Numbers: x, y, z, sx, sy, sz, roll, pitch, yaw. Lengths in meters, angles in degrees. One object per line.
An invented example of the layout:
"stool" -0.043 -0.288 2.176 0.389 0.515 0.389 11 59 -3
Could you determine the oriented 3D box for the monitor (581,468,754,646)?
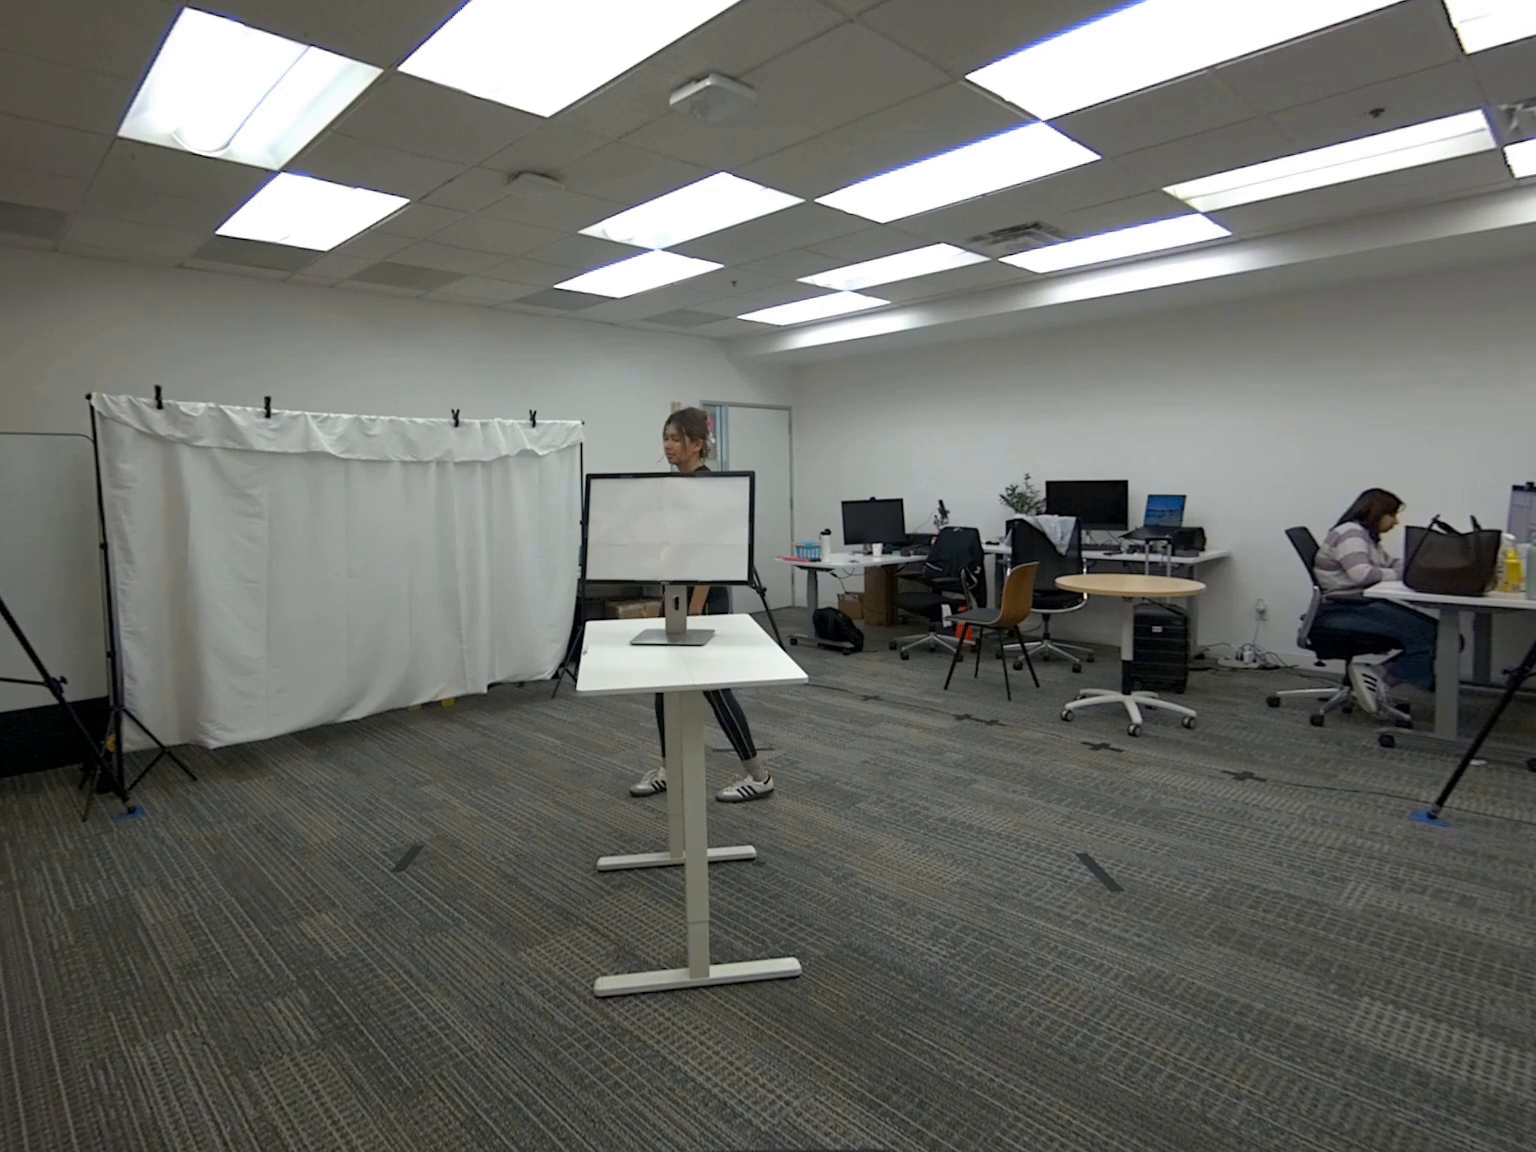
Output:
"monitor" -0.301 -0.051 2.765 0.543 0.520 0.186 -1 5 8
